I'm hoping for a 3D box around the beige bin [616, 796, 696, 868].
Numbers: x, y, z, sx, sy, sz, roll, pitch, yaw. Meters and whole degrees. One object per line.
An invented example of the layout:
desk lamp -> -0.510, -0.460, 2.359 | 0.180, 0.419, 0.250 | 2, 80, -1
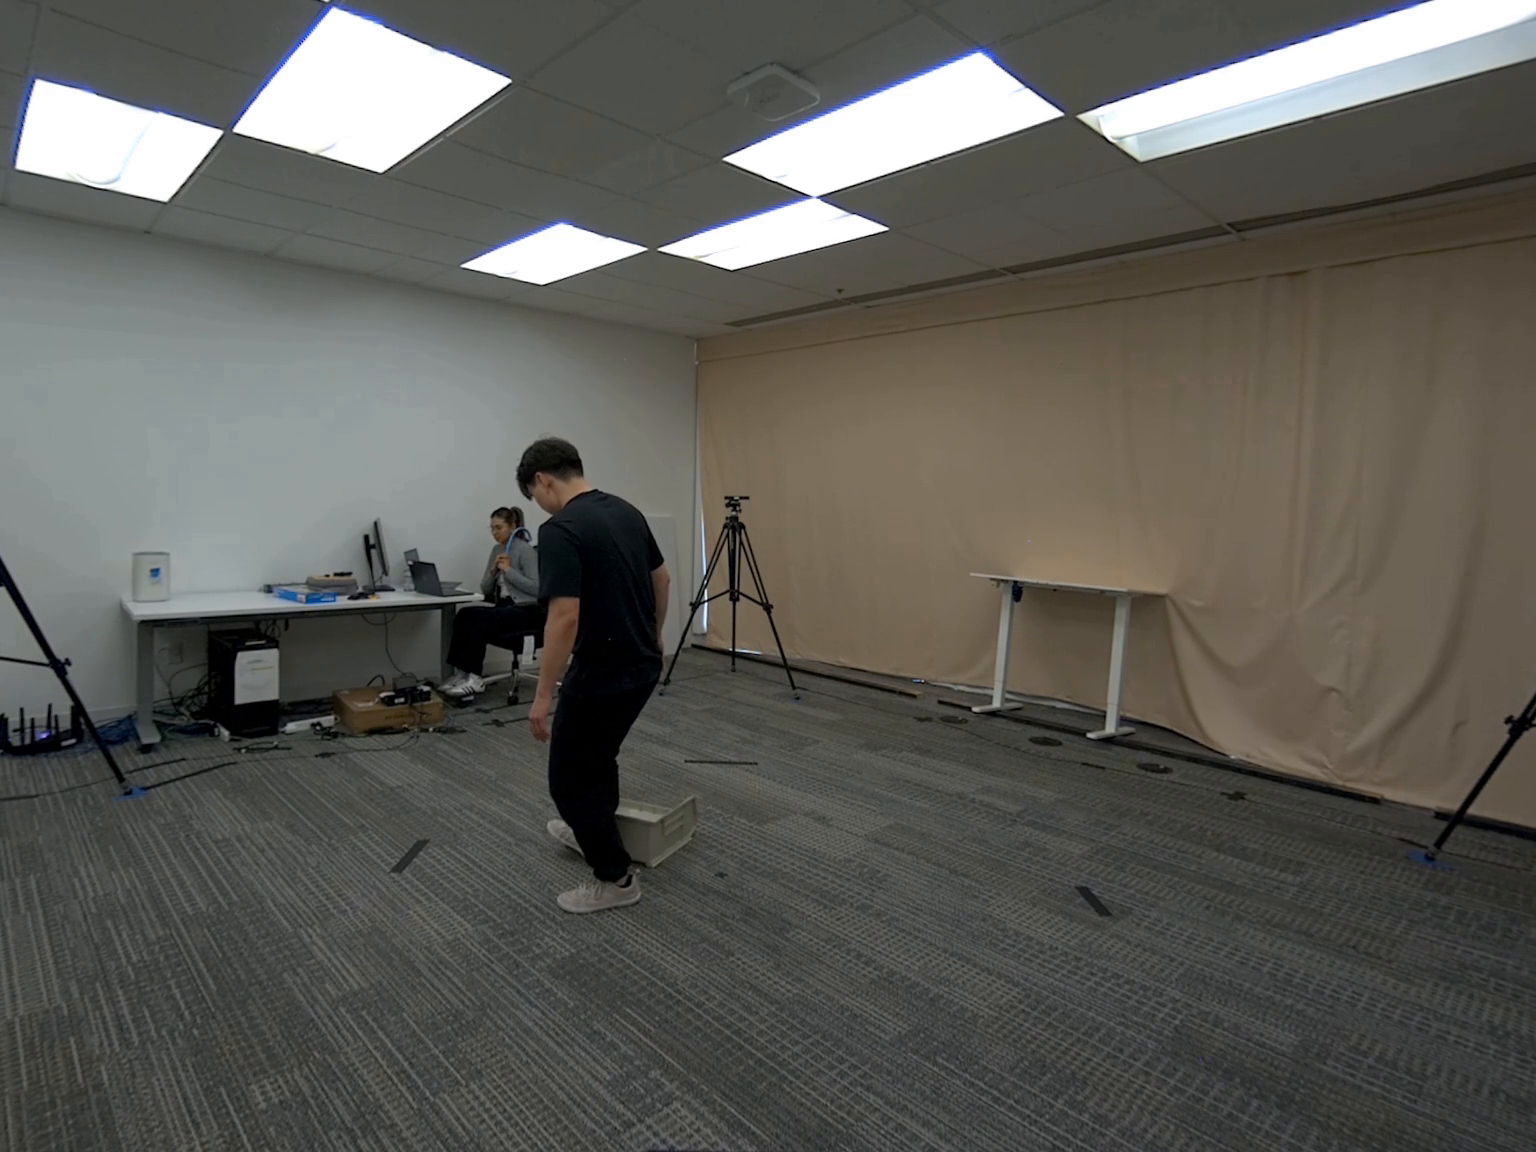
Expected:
beige bin -> -0.554, 0.978, 3.381 | 0.430, 0.188, 0.371 | 5, 5, 23
